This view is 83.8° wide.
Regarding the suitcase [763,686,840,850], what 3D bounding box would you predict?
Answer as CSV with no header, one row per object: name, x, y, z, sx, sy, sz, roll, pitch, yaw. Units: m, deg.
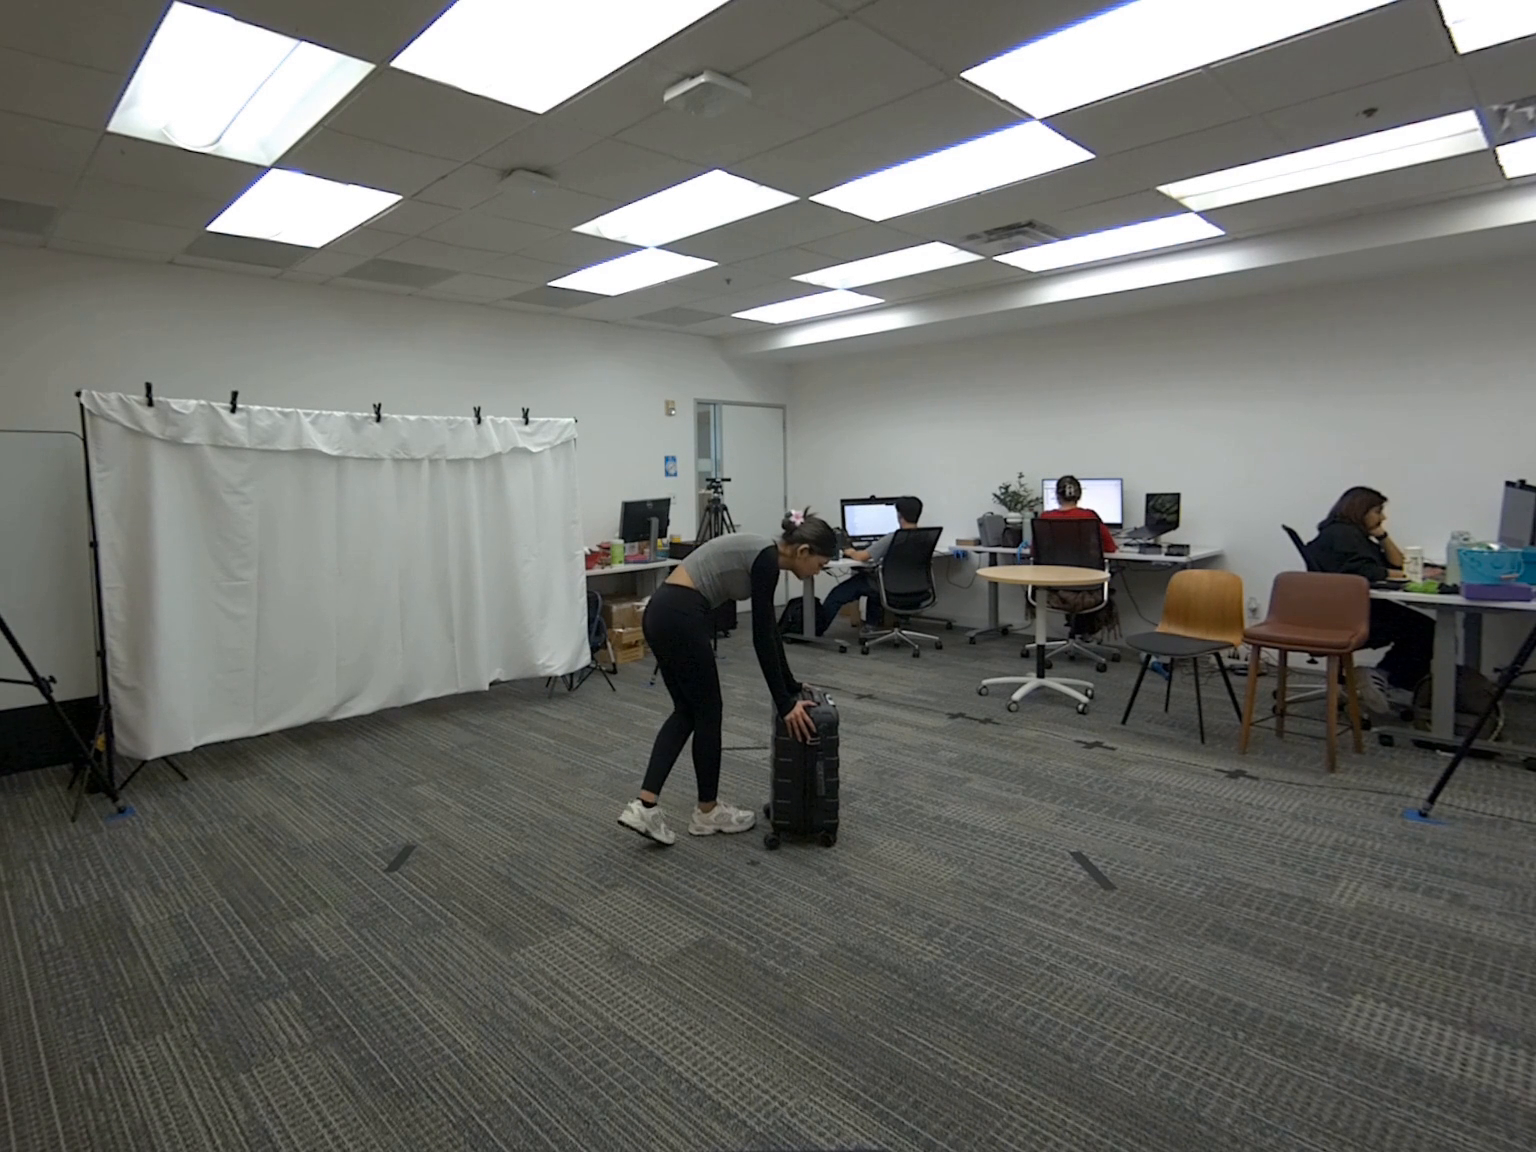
suitcase,0.139,0.733,3.362,0.248,0.547,0.377,0,5,-3
